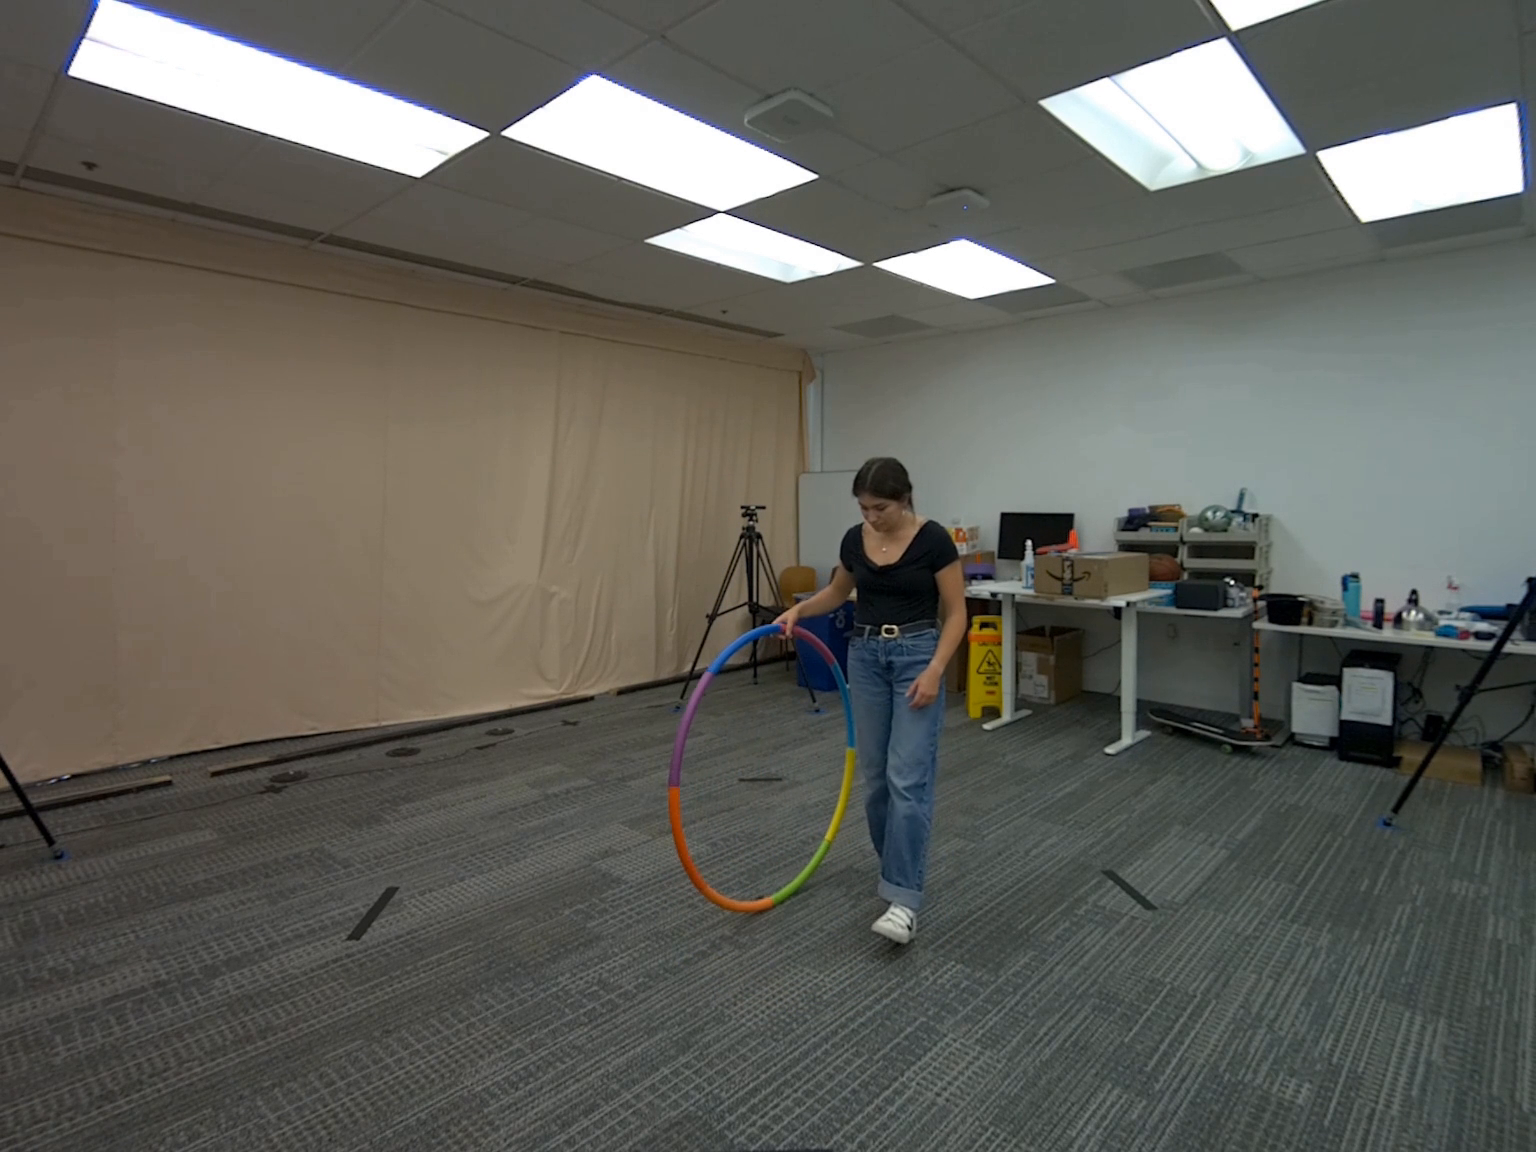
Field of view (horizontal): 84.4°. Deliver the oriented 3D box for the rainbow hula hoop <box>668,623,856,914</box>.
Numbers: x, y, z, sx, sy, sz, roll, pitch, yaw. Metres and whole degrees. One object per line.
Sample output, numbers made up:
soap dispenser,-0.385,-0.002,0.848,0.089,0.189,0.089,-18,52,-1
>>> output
rainbow hula hoop,0.026,0.662,2.935,0.037,0.977,0.949,0,3,41
